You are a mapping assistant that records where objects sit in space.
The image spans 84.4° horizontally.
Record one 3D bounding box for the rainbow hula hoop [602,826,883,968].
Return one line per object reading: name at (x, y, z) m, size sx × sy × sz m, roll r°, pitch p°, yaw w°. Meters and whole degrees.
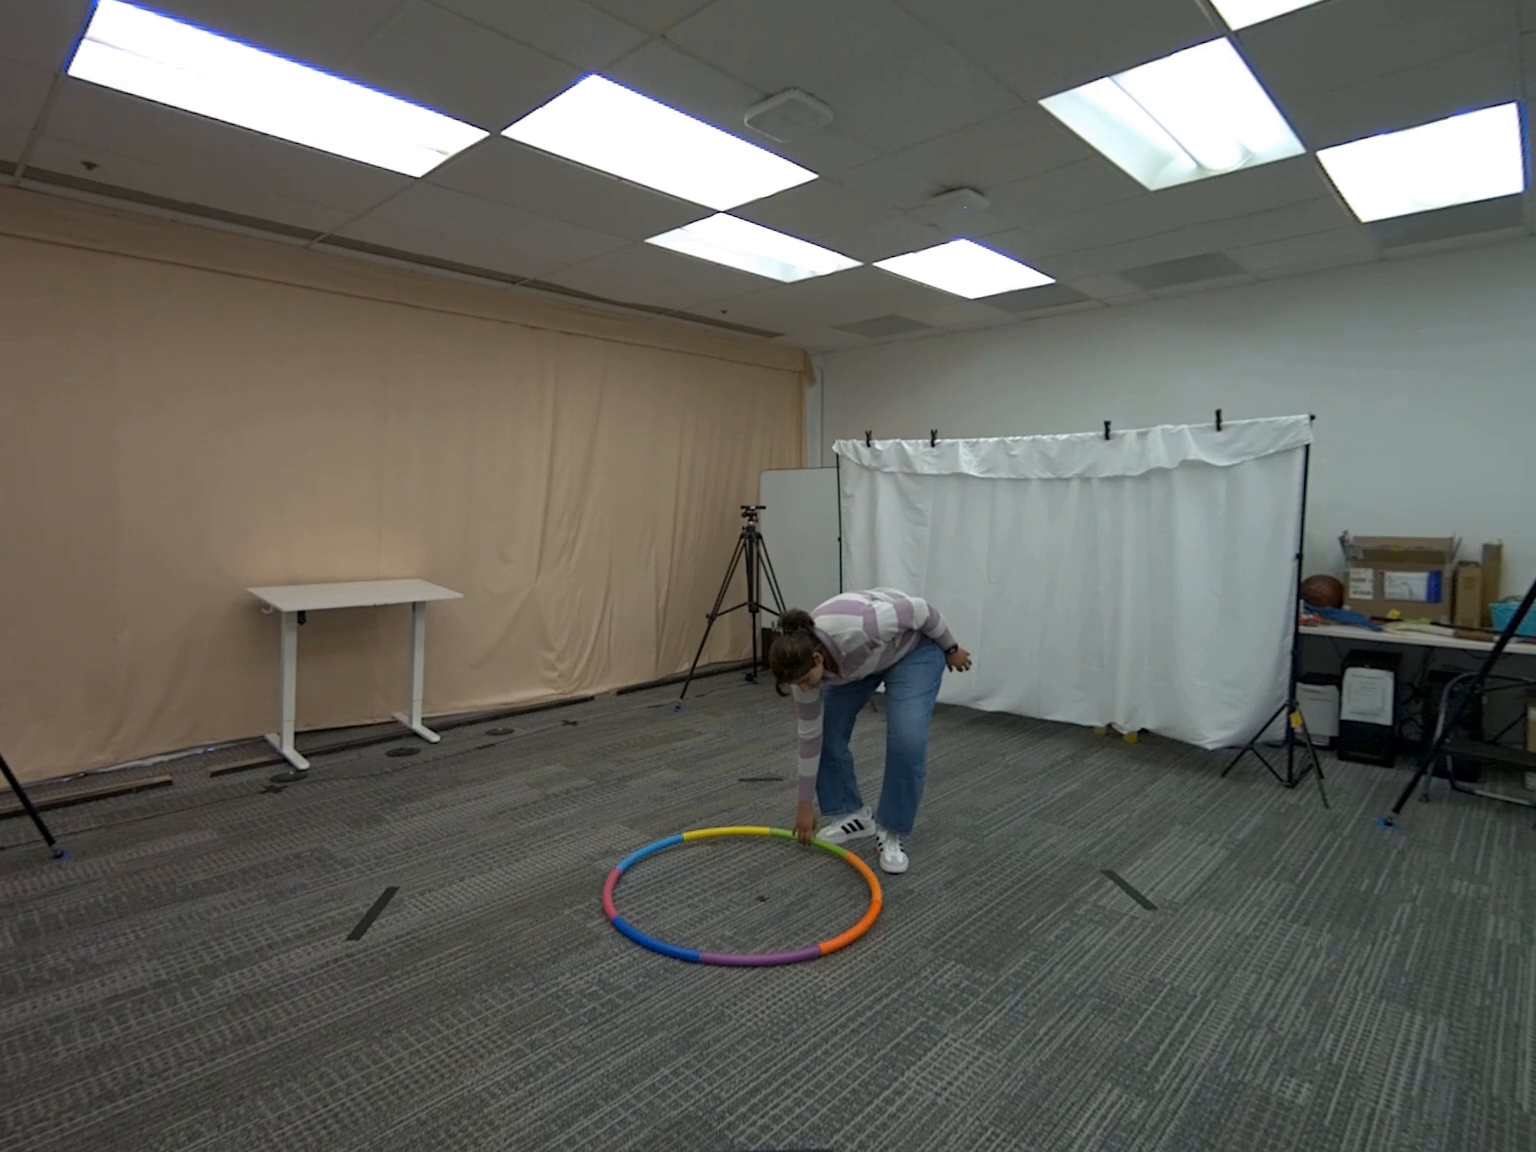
rainbow hula hoop at (-0.099, 1.105, 3.021) m, size 0.985 × 0.051 × 0.990 m, roll -1°, pitch 6°, yaw -2°
